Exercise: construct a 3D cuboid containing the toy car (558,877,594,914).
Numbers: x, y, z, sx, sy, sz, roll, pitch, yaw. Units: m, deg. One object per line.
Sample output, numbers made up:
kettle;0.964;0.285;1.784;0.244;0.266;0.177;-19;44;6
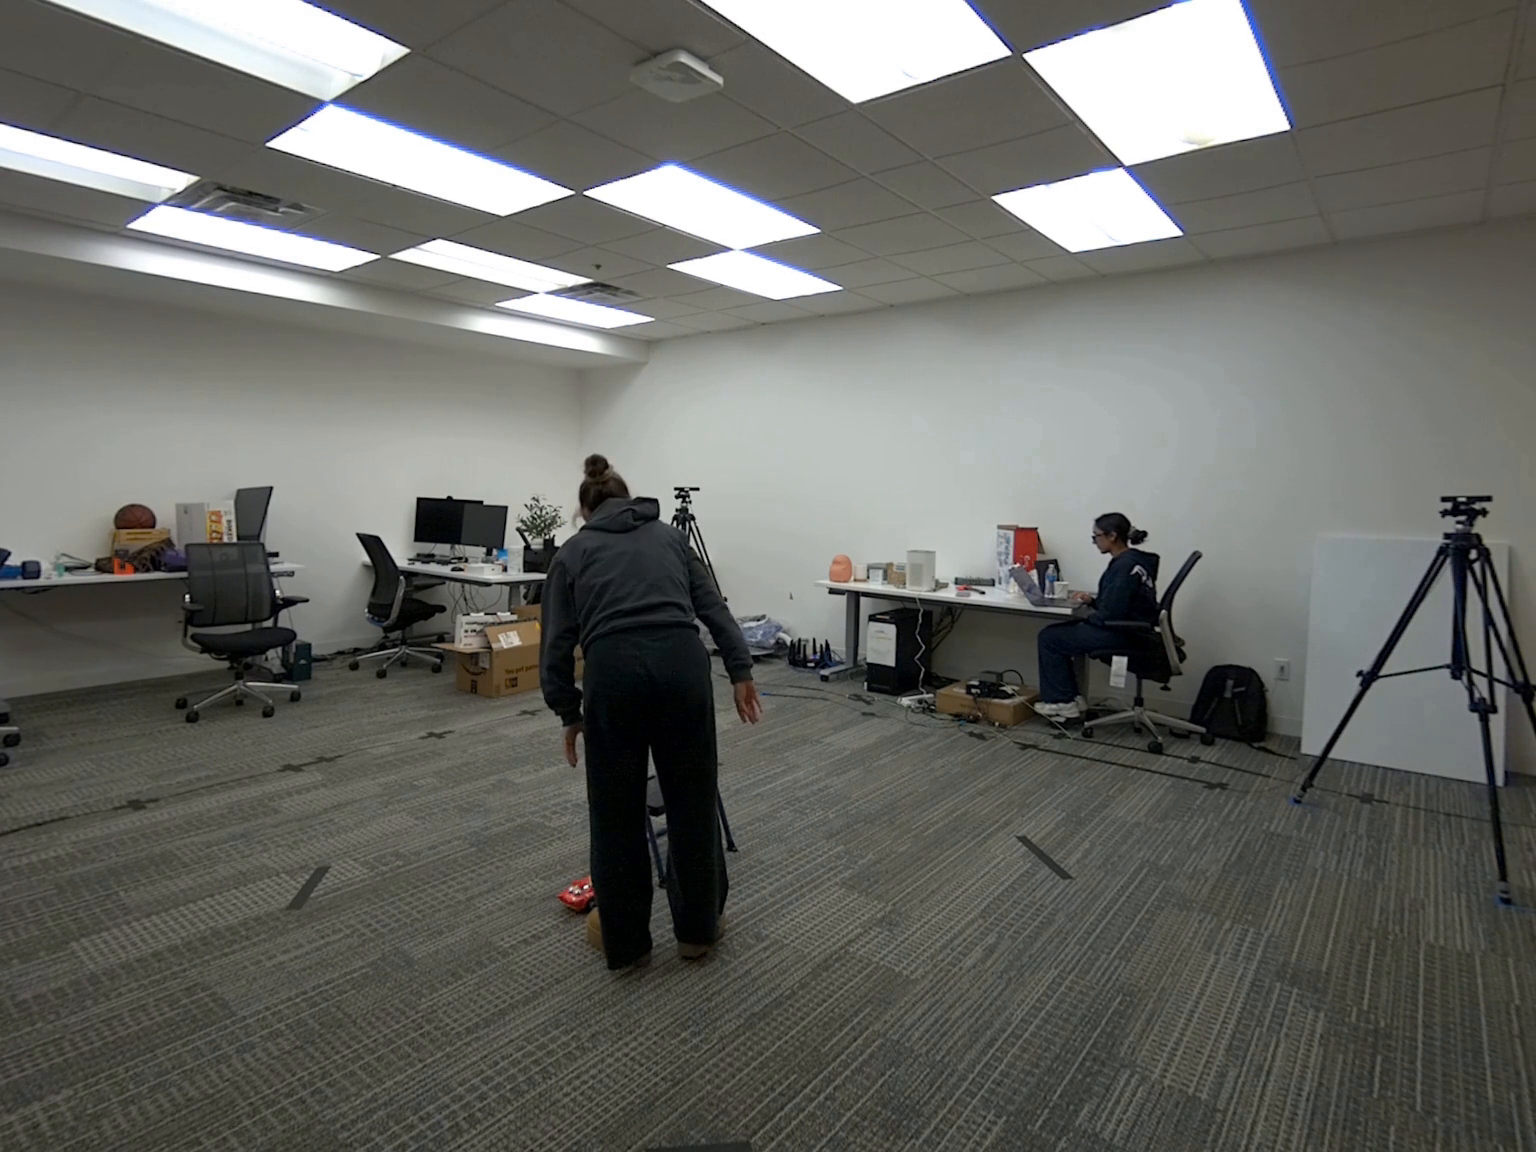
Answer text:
toy car;-0.592;1.058;2.846;0.135;0.083;0.245;5;-5;39
